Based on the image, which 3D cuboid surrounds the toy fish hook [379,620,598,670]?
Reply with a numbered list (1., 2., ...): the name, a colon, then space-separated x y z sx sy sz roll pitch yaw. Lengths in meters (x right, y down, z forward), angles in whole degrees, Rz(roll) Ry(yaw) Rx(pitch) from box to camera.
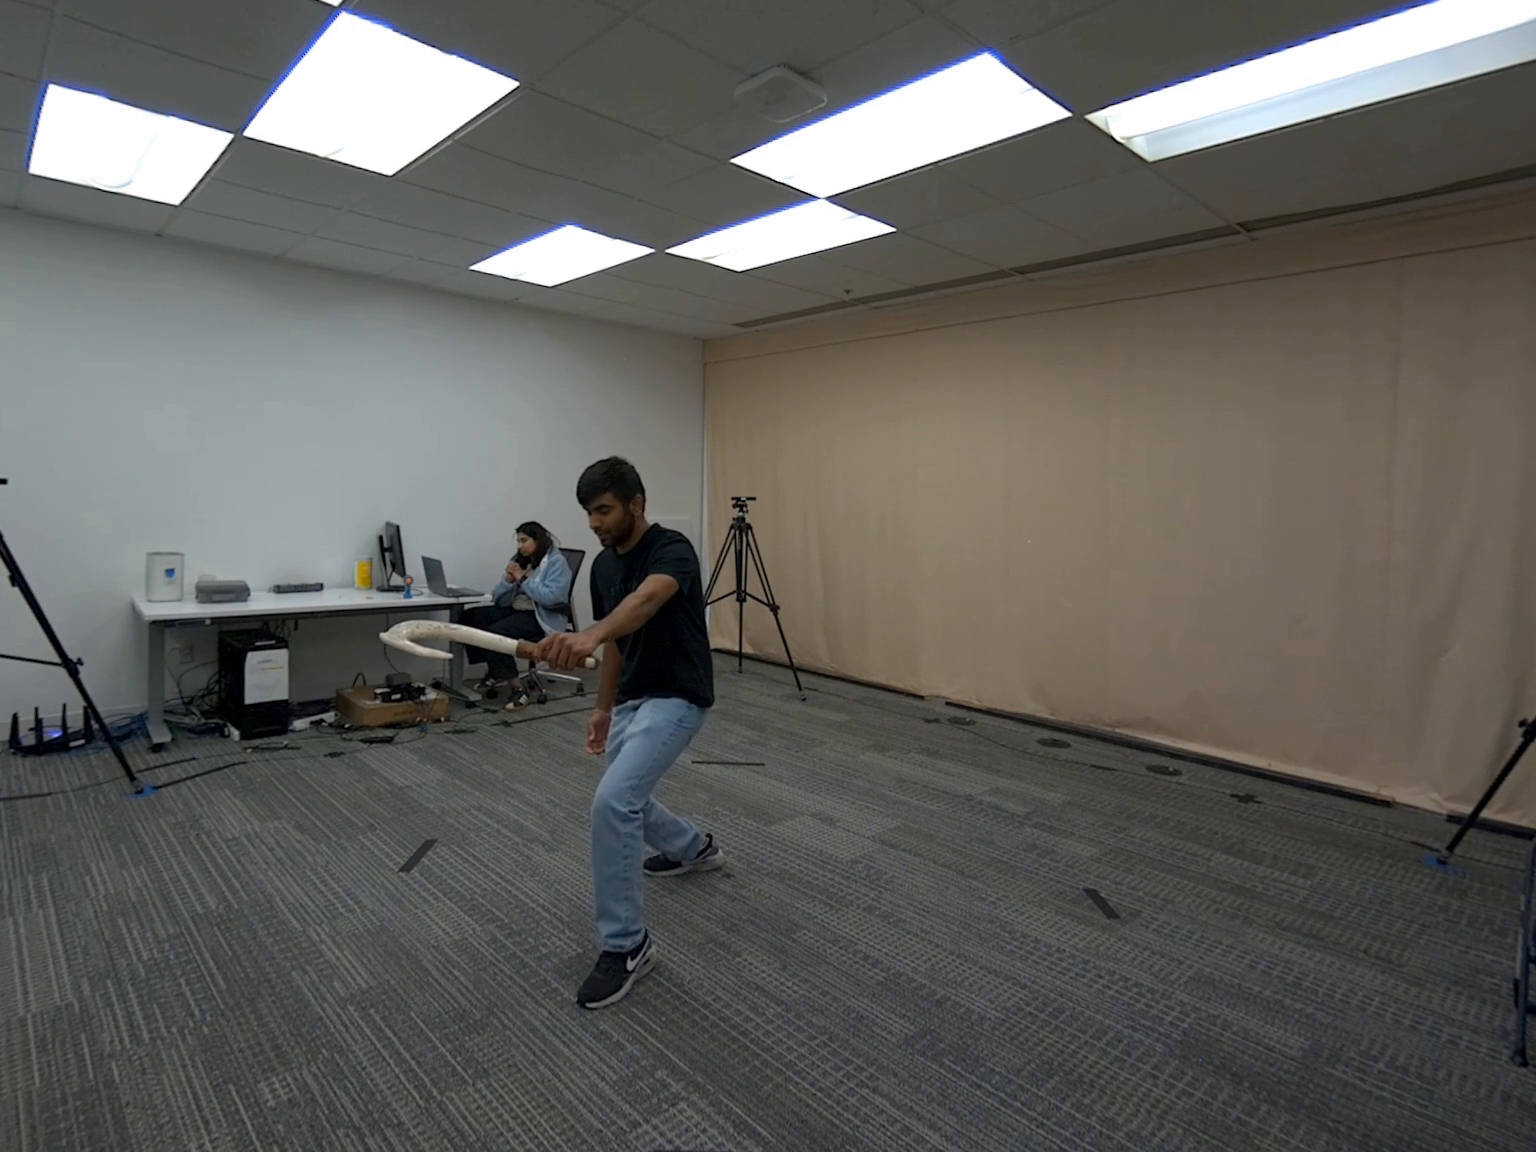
1. toy fish hook: -0.656 0.186 1.996 0.503 0.048 0.228 7 15 -8
